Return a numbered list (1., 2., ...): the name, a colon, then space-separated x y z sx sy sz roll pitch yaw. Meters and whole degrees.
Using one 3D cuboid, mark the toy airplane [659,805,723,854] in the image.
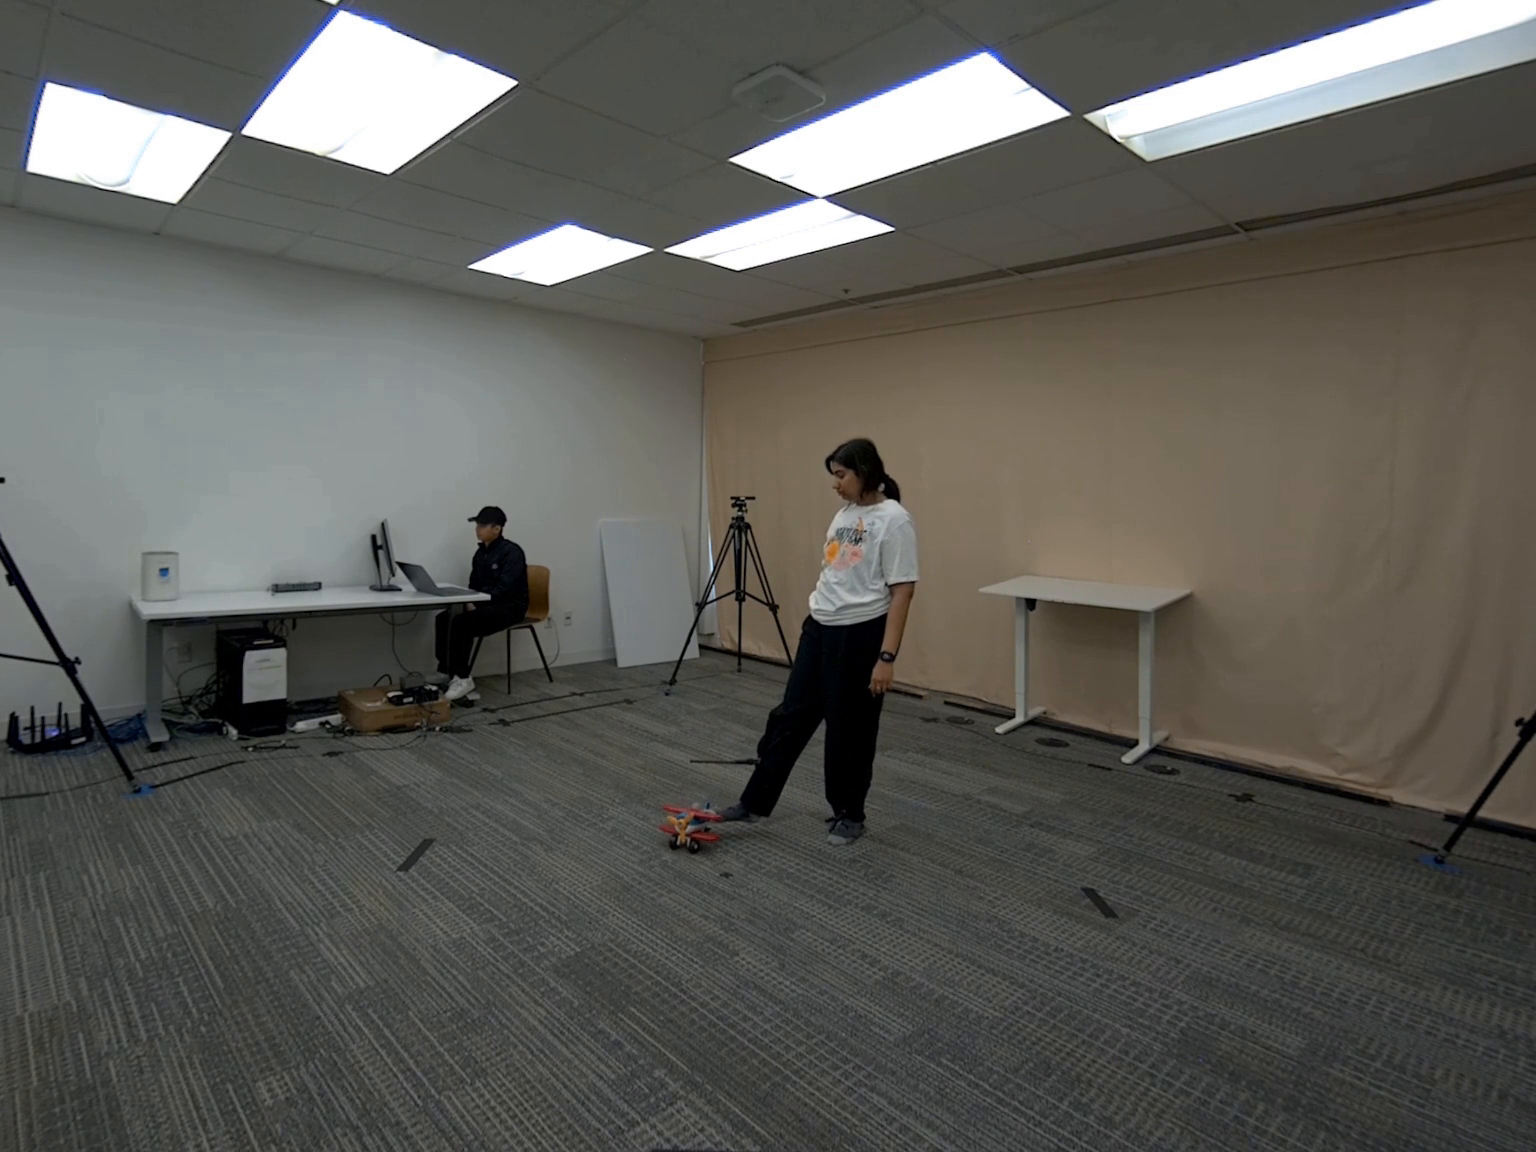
1. toy airplane: -0.319 0.997 3.389 0.250 0.156 0.261 1 5 -5
